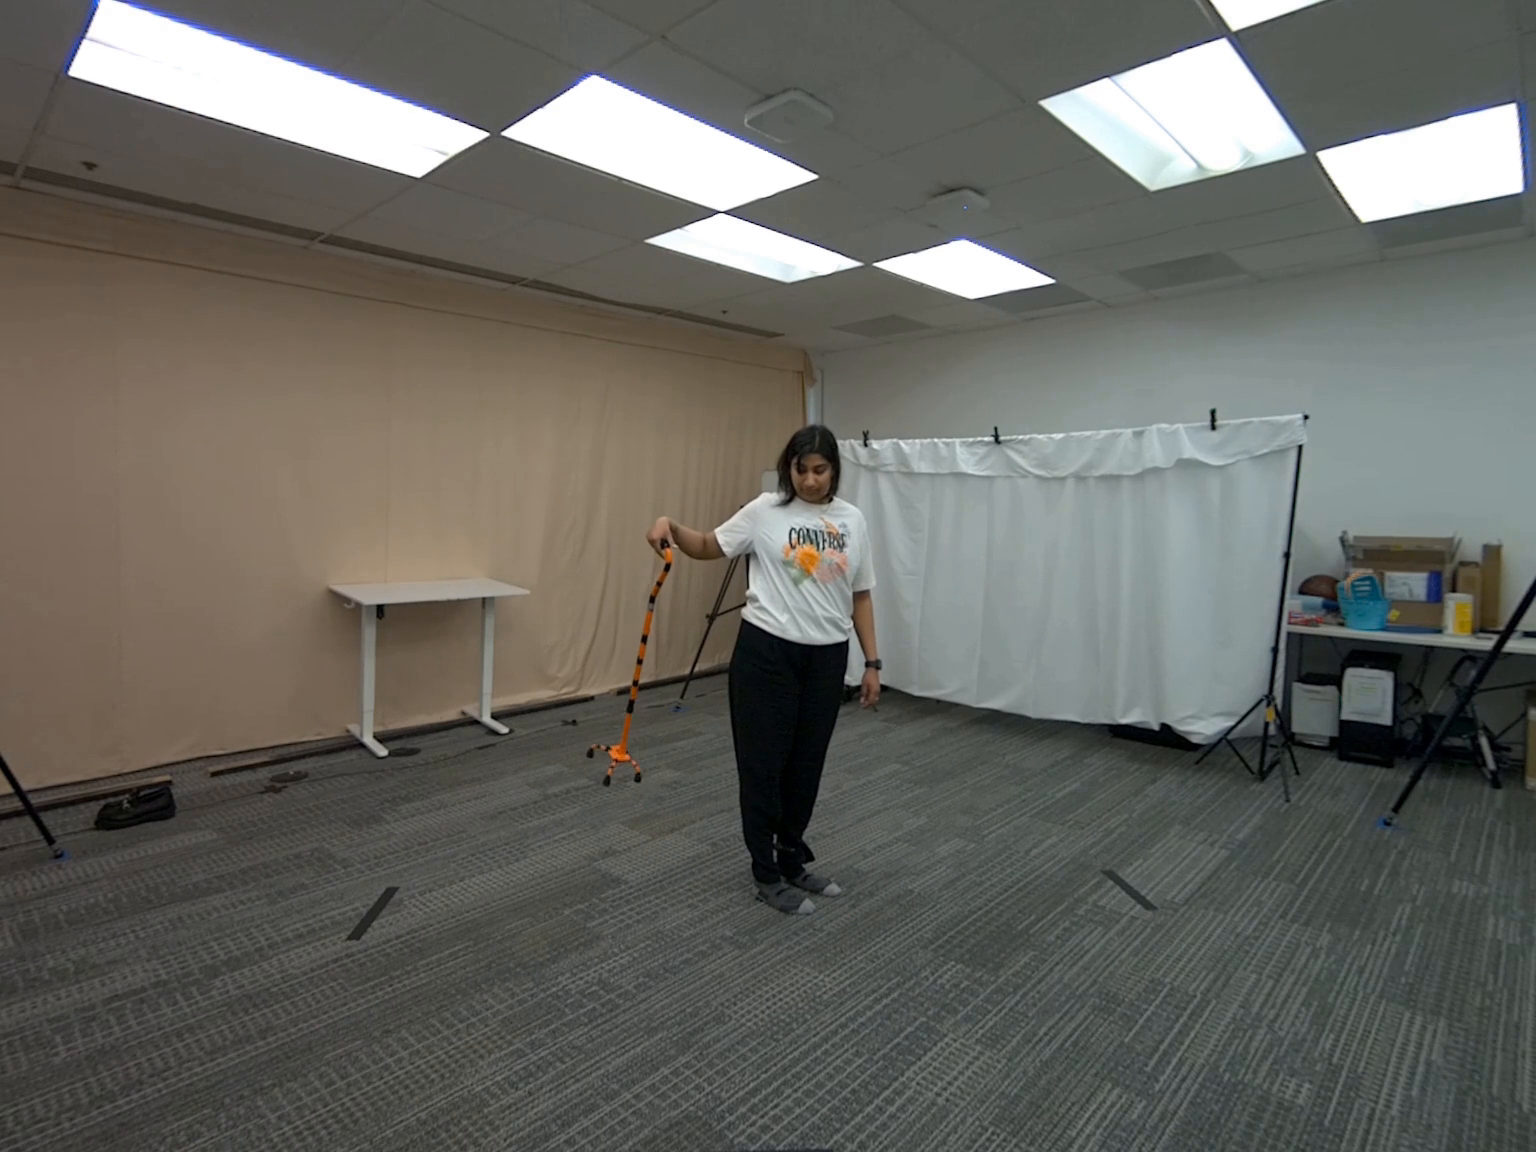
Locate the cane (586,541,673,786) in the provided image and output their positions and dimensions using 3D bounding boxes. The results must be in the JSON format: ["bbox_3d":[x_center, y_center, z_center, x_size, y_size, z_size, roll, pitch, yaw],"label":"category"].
[{"bbox_3d":[-0.463,0.316,2.986,0.147,0.902,0.214,1,20,-35],"label":"cane"}]
